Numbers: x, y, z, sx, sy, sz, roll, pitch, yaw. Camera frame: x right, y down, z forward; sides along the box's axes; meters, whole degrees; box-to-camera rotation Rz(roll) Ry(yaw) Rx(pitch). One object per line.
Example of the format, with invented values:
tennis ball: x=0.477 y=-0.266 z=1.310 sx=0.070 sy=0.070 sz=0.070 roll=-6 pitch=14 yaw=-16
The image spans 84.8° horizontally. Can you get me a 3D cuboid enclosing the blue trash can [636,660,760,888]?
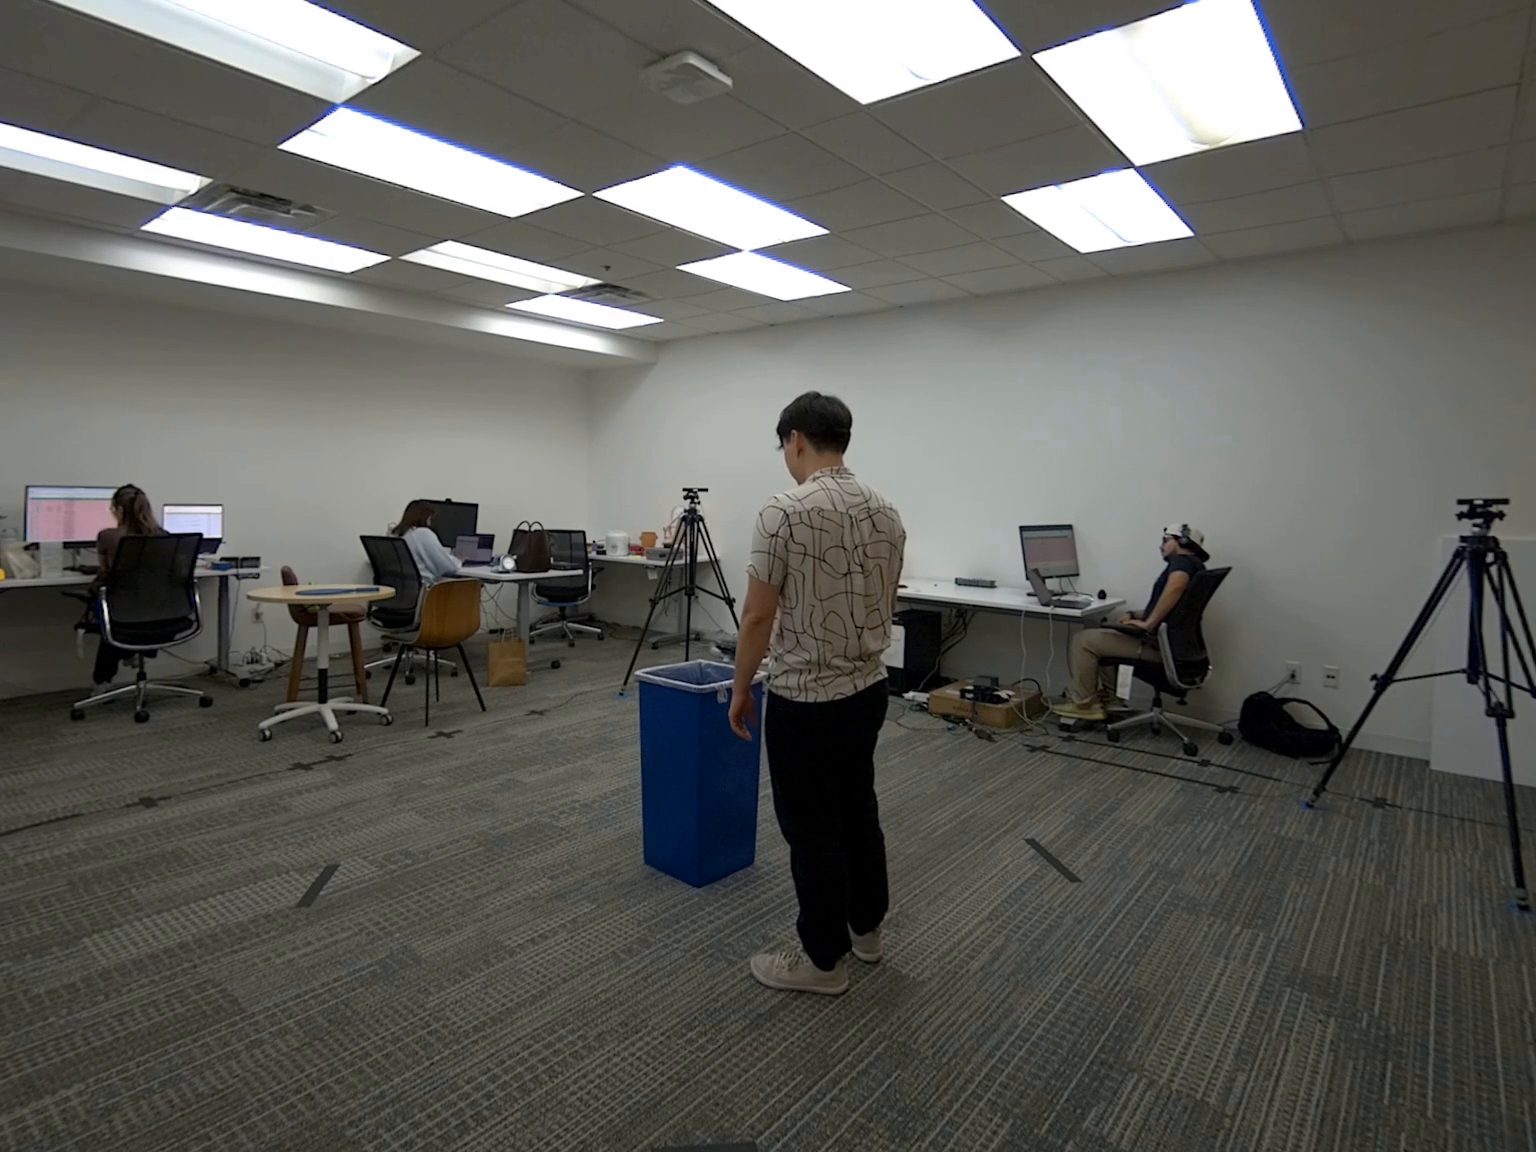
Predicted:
blue trash can: x=-0.261 y=0.706 z=3.156 sx=0.391 sy=0.712 sz=0.363 roll=3 pitch=4 yaw=41
